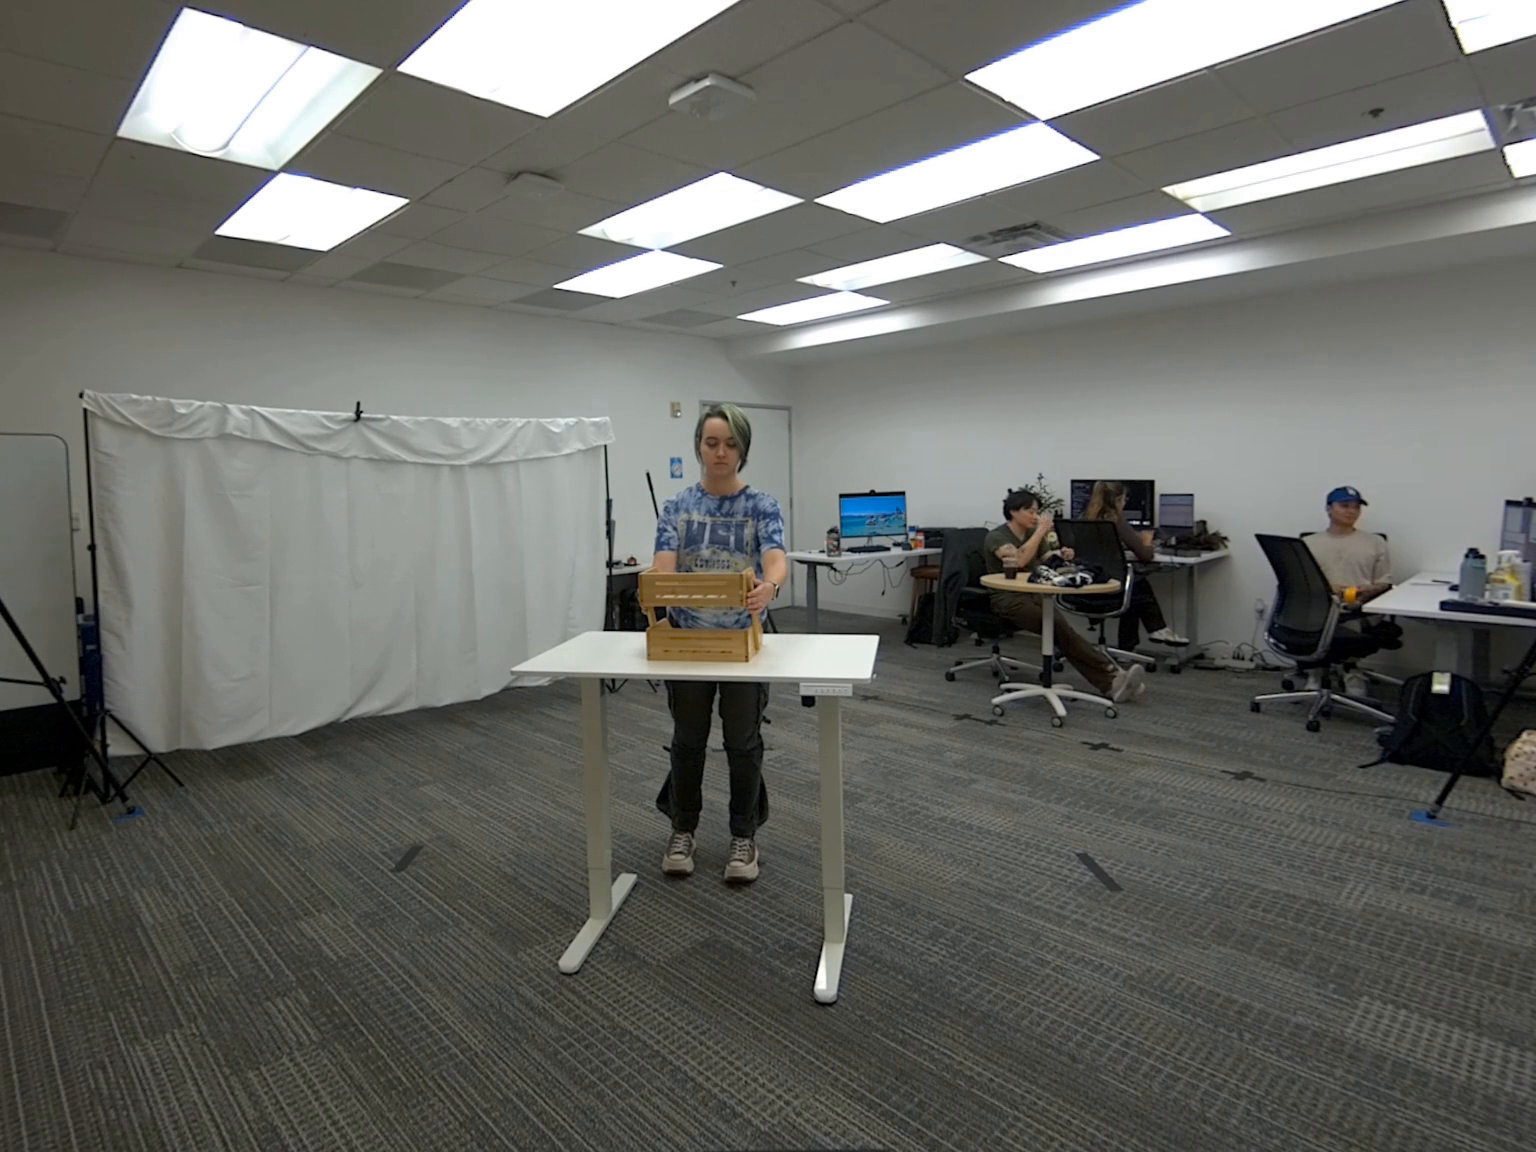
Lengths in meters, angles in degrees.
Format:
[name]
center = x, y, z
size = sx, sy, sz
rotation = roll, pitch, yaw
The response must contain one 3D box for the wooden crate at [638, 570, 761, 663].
[wooden crate]
center = -0.194, 0.104, 2.535
size = 0.328, 0.272, 0.301
rotation = -1, 7, 10
